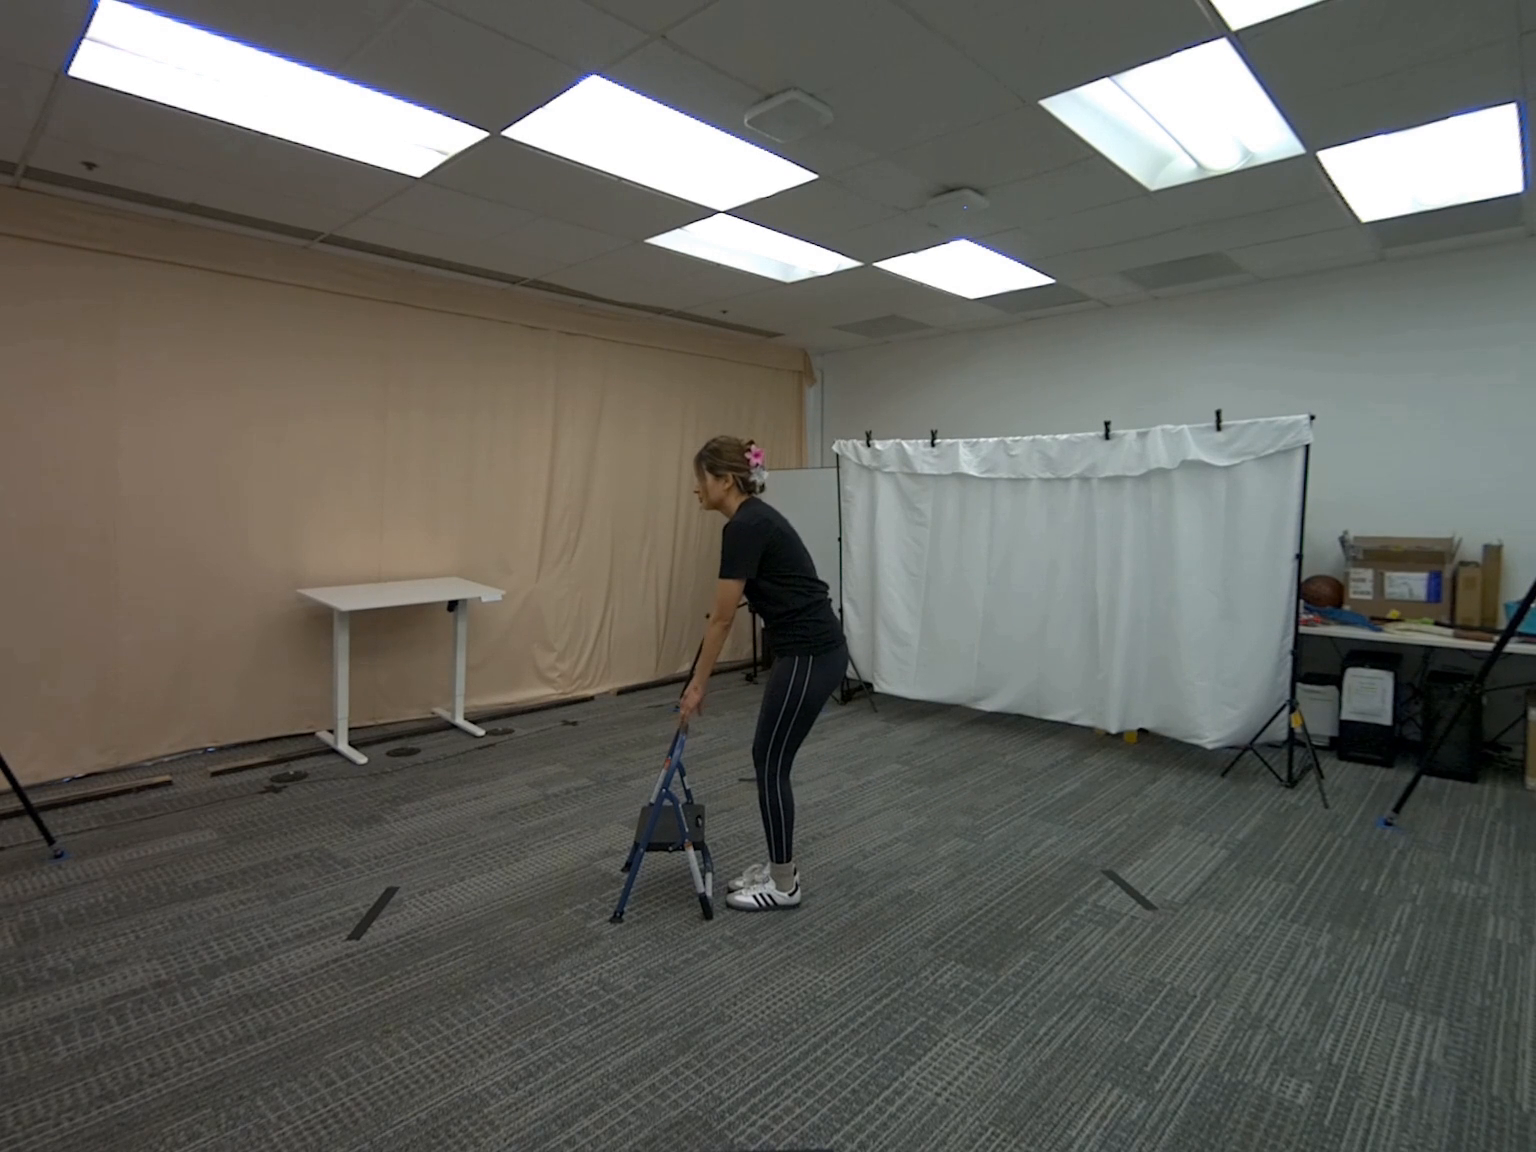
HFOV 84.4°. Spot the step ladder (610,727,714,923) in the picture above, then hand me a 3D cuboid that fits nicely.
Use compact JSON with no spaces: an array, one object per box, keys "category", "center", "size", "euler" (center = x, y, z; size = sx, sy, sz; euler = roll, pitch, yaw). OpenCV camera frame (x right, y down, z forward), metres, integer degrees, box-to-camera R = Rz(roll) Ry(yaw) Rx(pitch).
[{"category":"step ladder","center":[-0.372,0.847,3.017],"size":[0.348,0.604,0.433],"euler":[-1,4,-4]}]
